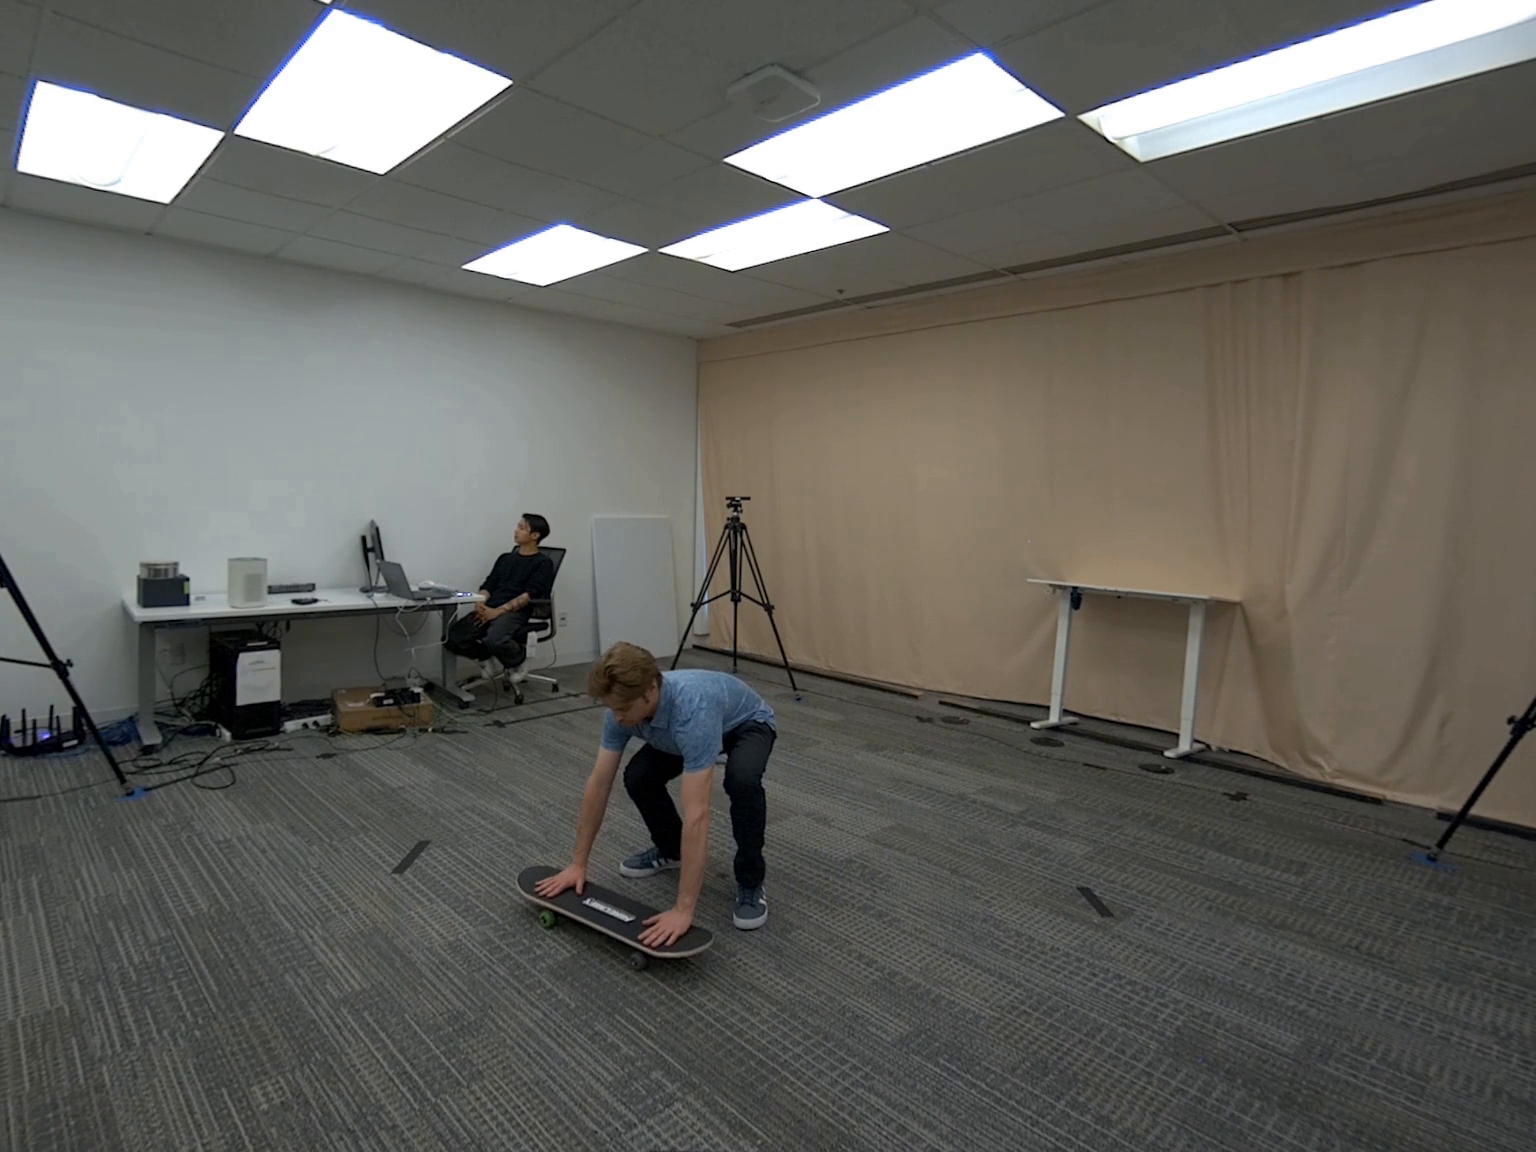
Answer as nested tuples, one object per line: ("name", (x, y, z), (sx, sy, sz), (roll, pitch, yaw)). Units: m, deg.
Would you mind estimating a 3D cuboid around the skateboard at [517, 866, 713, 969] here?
("skateboard", (-0.509, 1.085, 2.652), (0.804, 0.110, 0.189), (5, 7, 36))
